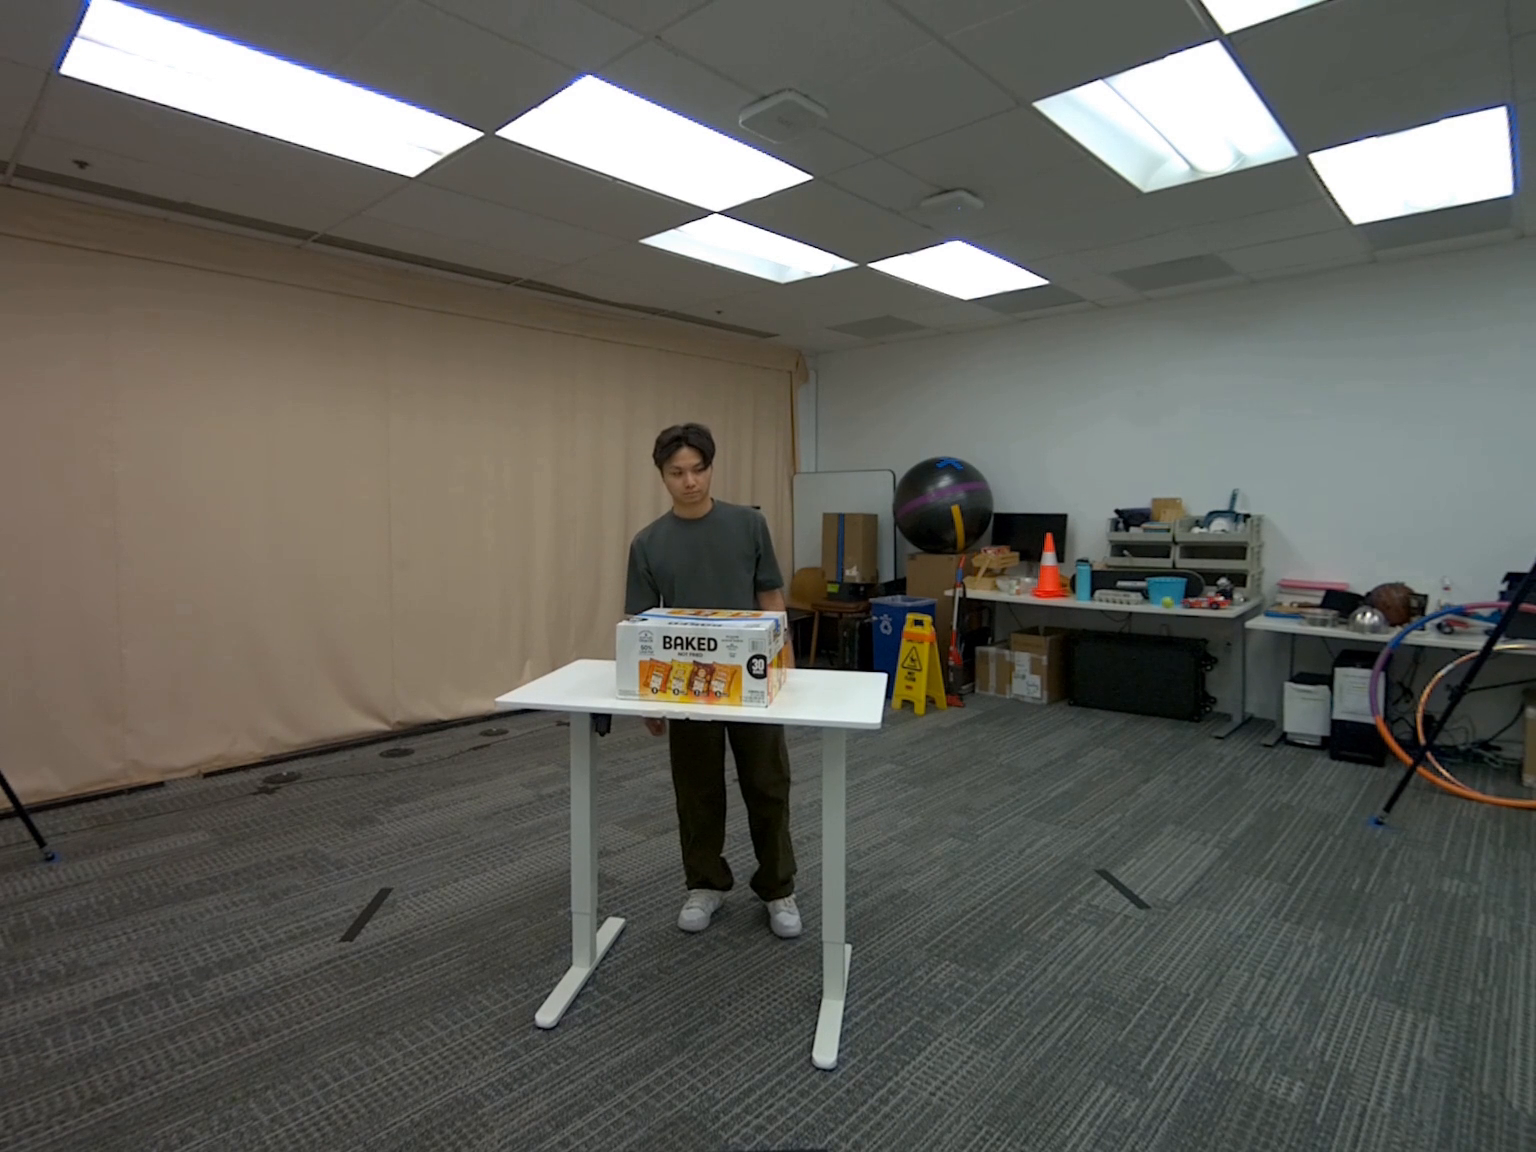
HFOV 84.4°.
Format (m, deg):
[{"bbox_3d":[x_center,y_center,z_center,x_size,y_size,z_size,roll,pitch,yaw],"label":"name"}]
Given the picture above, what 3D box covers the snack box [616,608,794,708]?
[{"bbox_3d":[-0.173,0.216,2.339,0.410,0.205,0.337,1,4,11],"label":"snack box"}]
